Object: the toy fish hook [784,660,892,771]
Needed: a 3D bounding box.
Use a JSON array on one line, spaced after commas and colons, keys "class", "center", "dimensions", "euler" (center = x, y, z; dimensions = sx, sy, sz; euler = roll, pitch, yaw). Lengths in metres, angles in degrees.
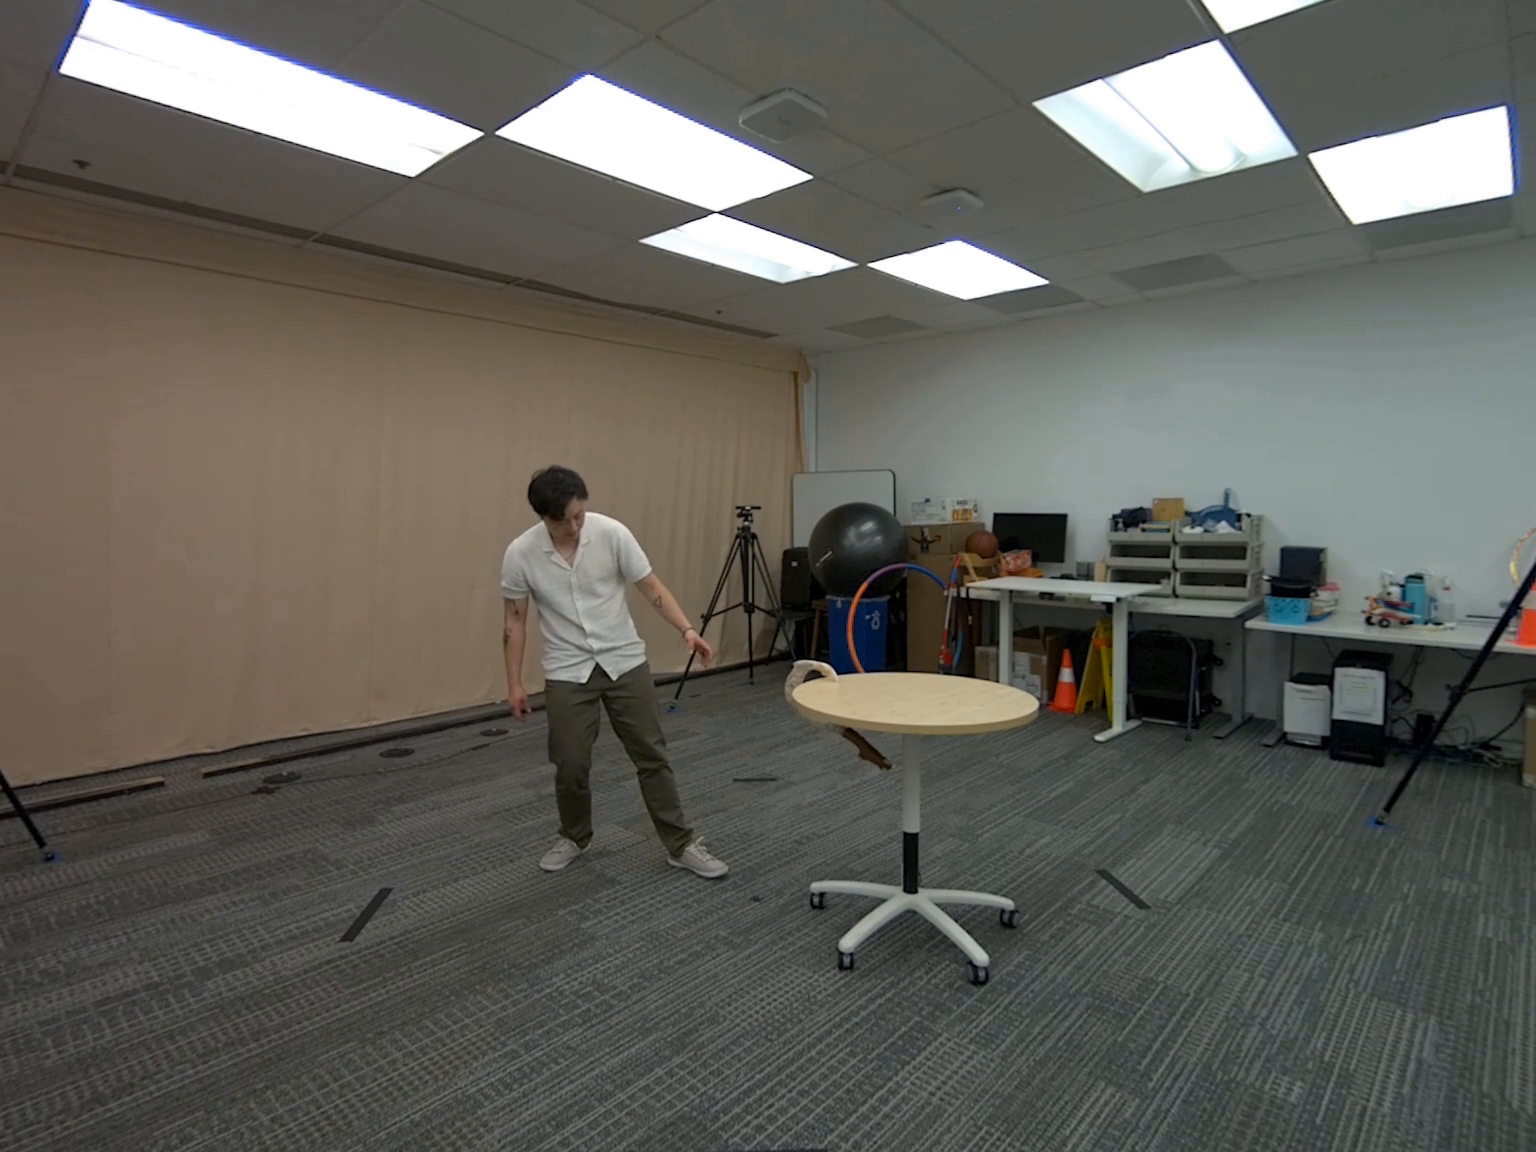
[{"class": "toy fish hook", "center": [0.253, 0.470, 2.904], "dimensions": [0.047, 0.224, 0.525], "euler": [2, 25, -47]}]
